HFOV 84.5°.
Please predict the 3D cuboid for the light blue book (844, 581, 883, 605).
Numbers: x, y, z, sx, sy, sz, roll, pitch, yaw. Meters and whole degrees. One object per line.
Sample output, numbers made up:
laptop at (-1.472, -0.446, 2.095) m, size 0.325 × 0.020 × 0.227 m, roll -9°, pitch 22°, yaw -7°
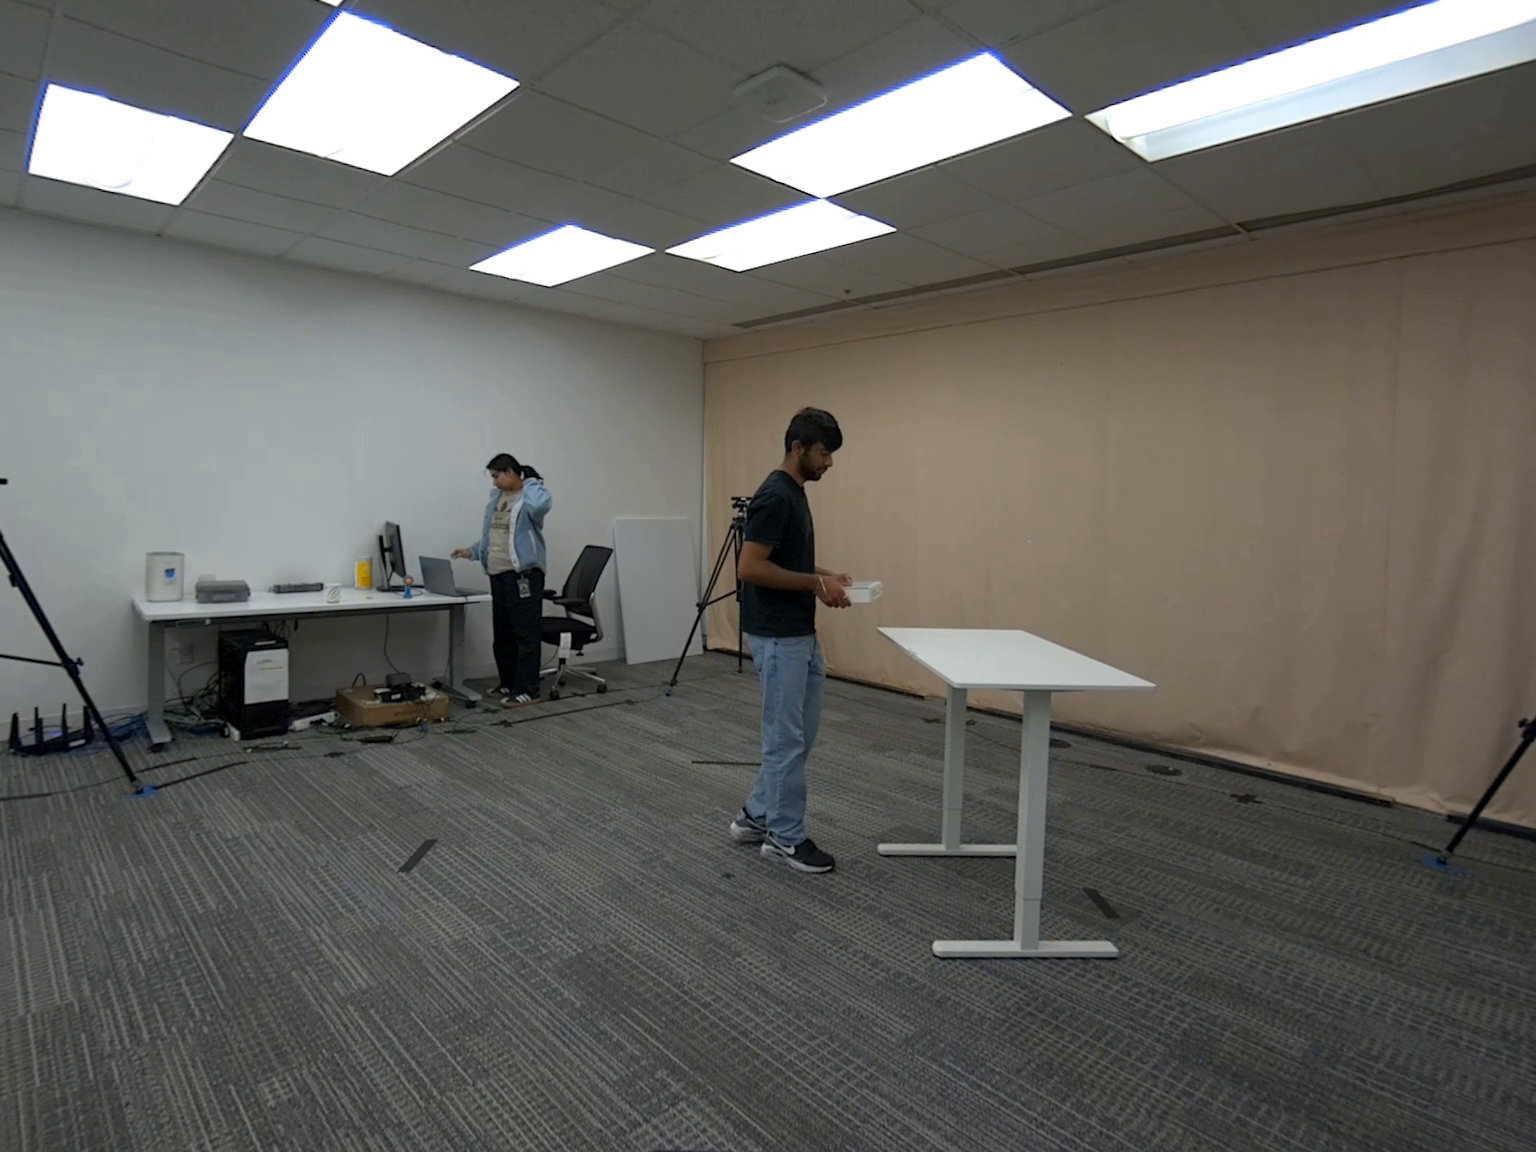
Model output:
light blue book at (0.310, 0.057, 3.181) m, size 0.194 × 0.059 × 0.258 m, roll 0°, pitch 4°, yaw 15°
